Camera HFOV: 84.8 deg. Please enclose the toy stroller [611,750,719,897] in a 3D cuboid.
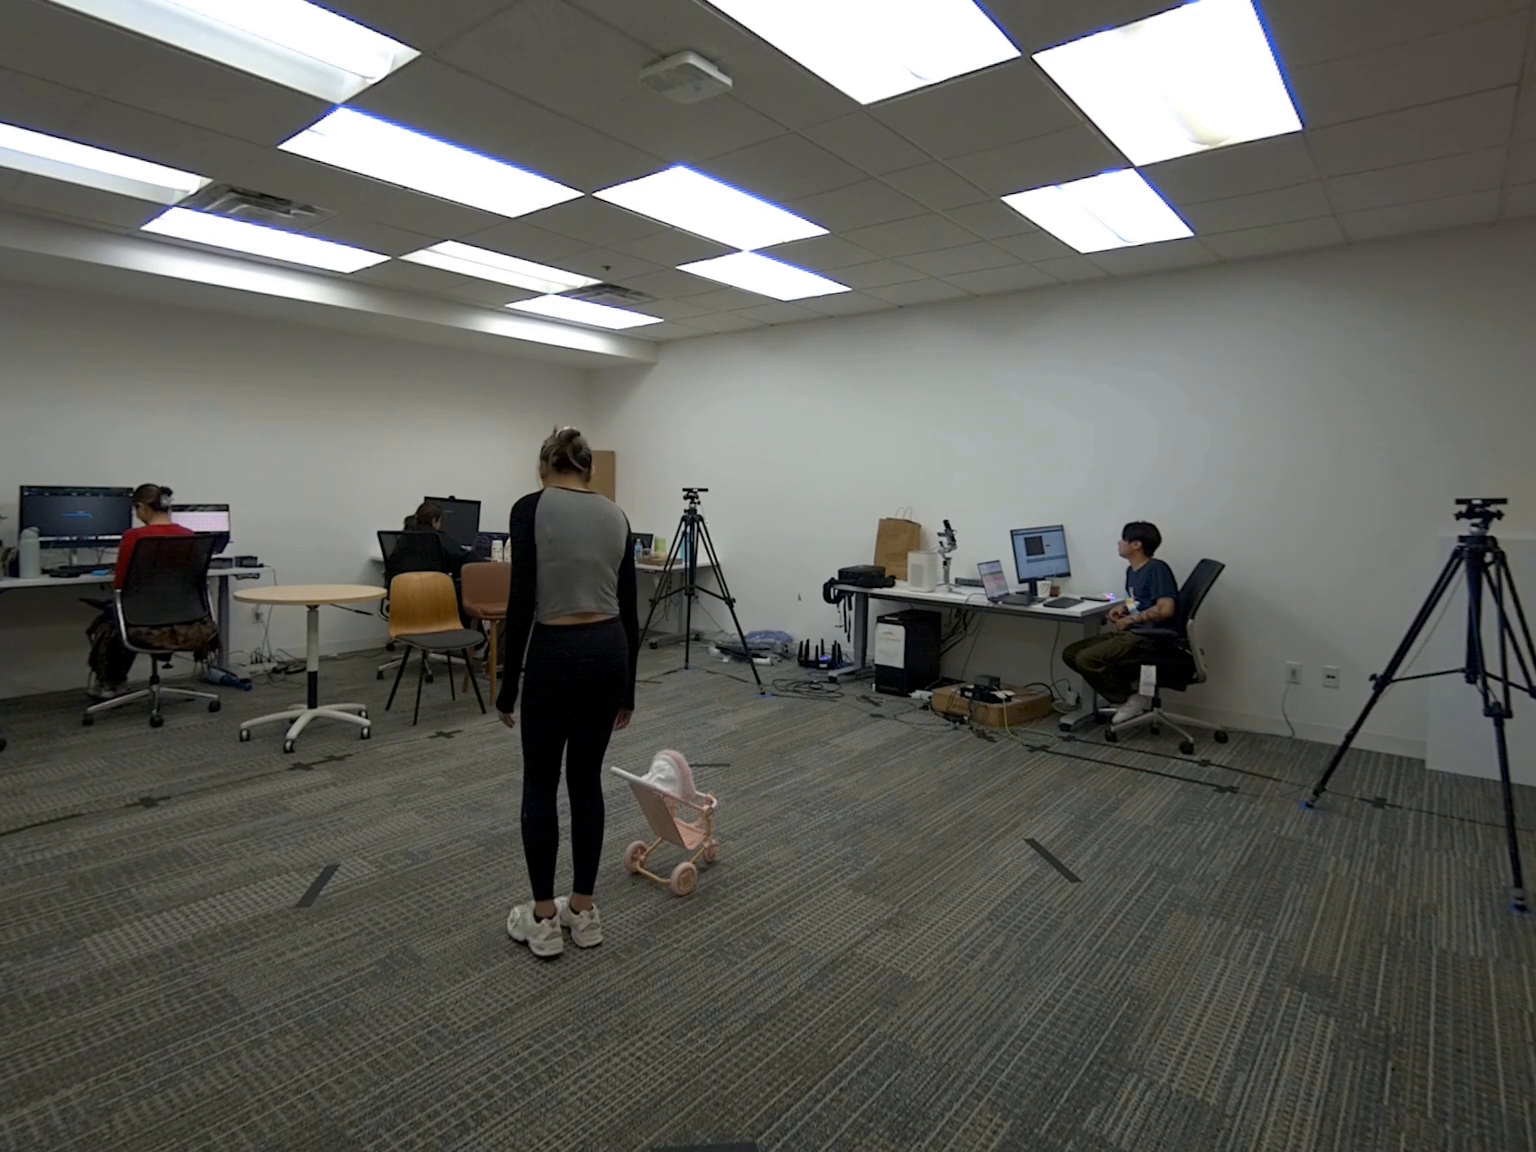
[{"bbox_3d":[-0.347,0.851,3.029,0.335,0.527,0.291,-23,19,-40],"label":"toy stroller"}]
